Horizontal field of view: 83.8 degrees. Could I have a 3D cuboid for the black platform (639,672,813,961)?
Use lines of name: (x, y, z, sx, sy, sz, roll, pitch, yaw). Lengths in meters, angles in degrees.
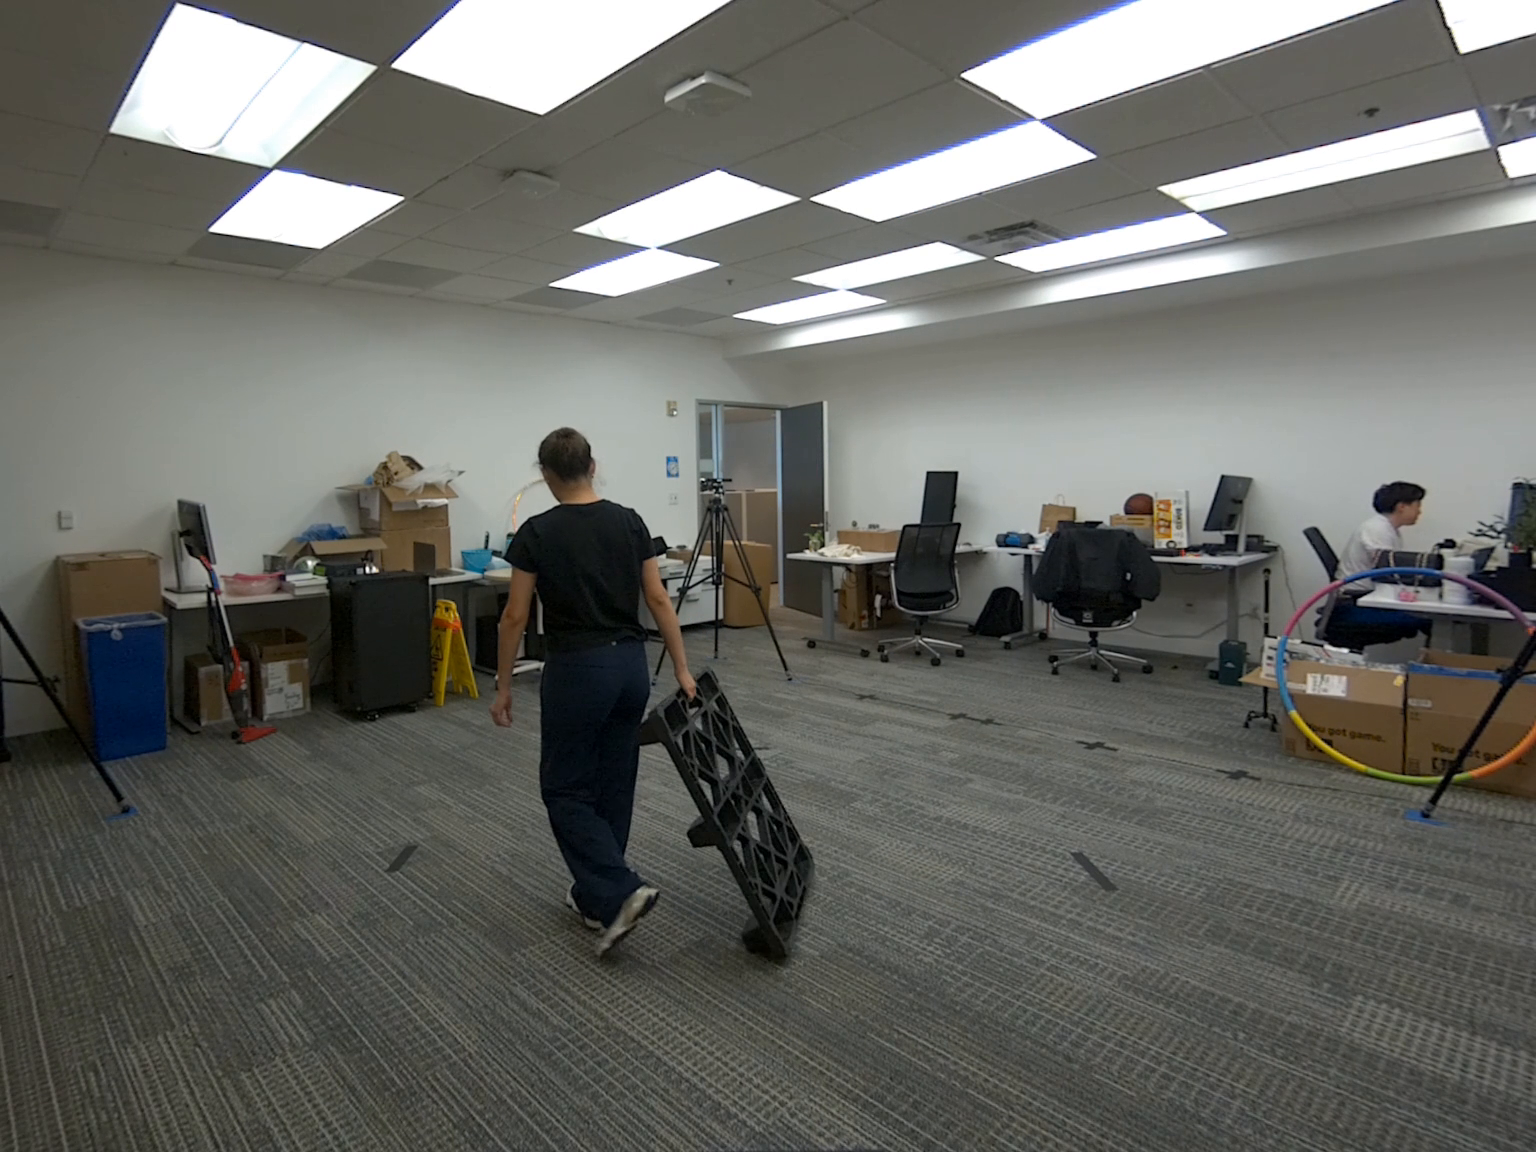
black platform: (-0.127, 0.732, 2.772, 0.144, 0.808, 0.601, -28, -1, 11)
